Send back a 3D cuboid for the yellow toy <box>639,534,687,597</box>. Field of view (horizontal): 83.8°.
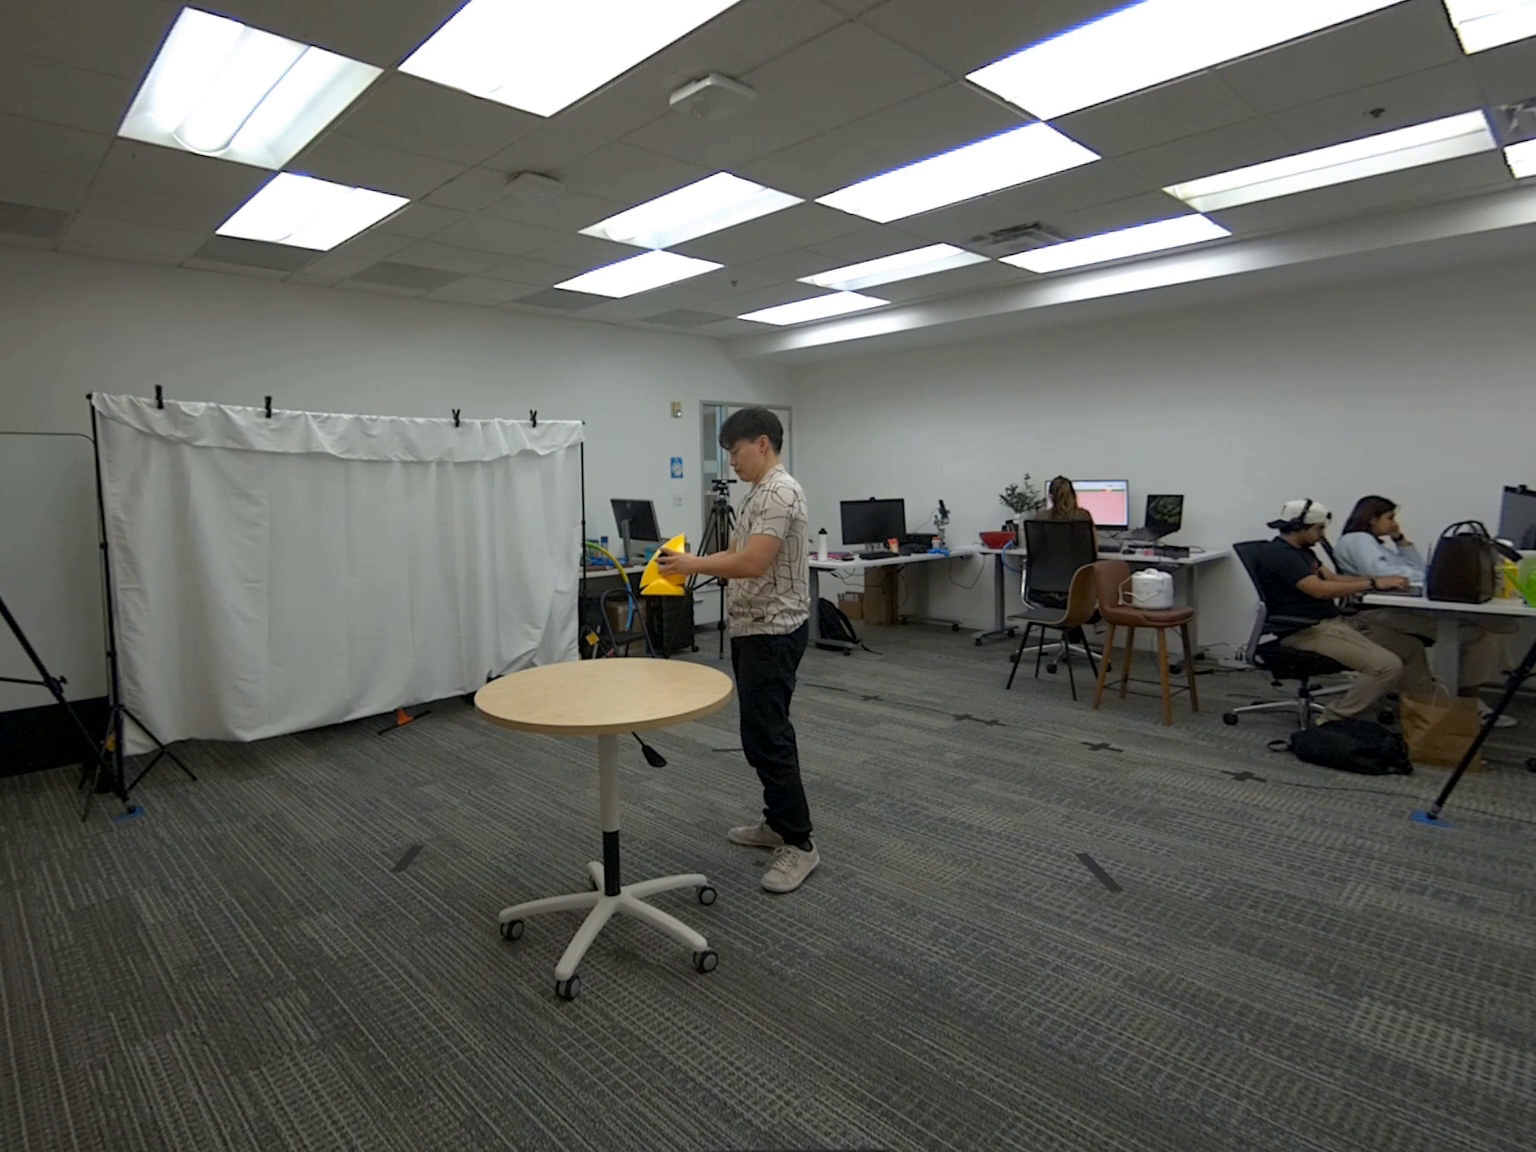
[{"bbox_3d":[-0.382,-0.045,3.195,0.192,0.232,0.204,0,-4,-4],"label":"yellow toy"}]
